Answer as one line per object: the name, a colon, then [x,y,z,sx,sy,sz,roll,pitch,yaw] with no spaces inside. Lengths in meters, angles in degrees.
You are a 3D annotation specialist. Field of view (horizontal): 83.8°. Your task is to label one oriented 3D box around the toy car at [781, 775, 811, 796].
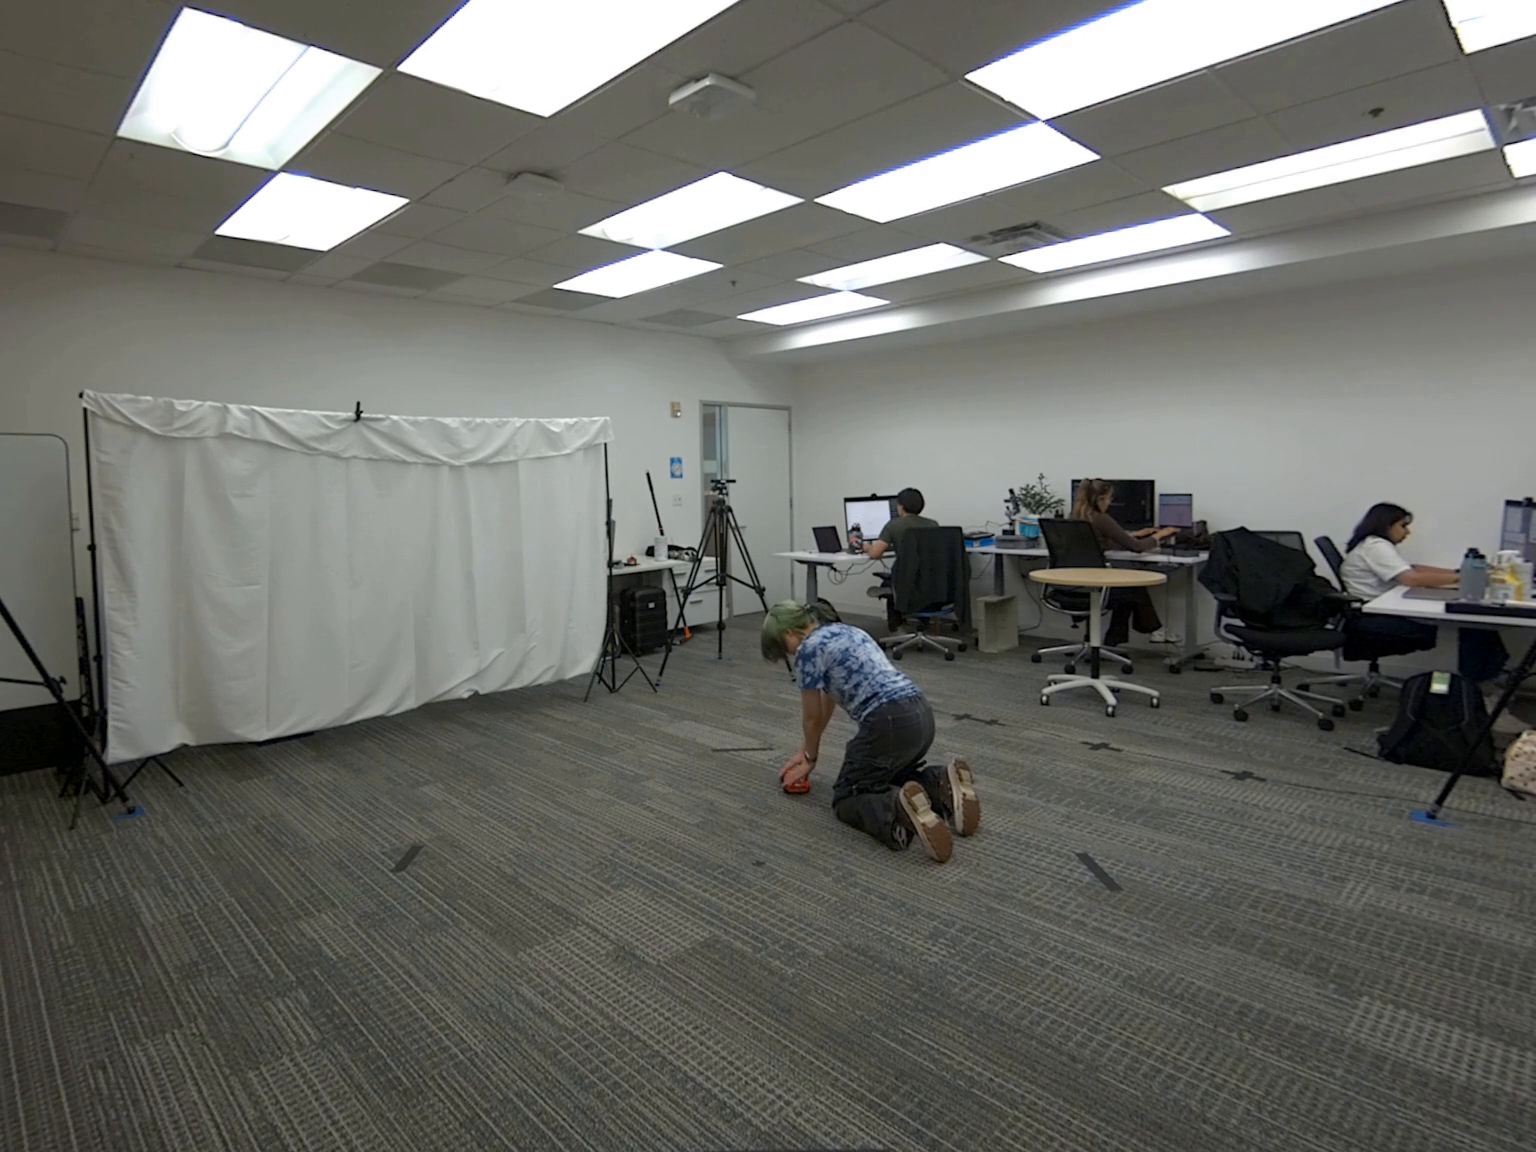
toy car: [0.130,0.932,3.877,0.130,0.084,0.253,0,-6,-2]
